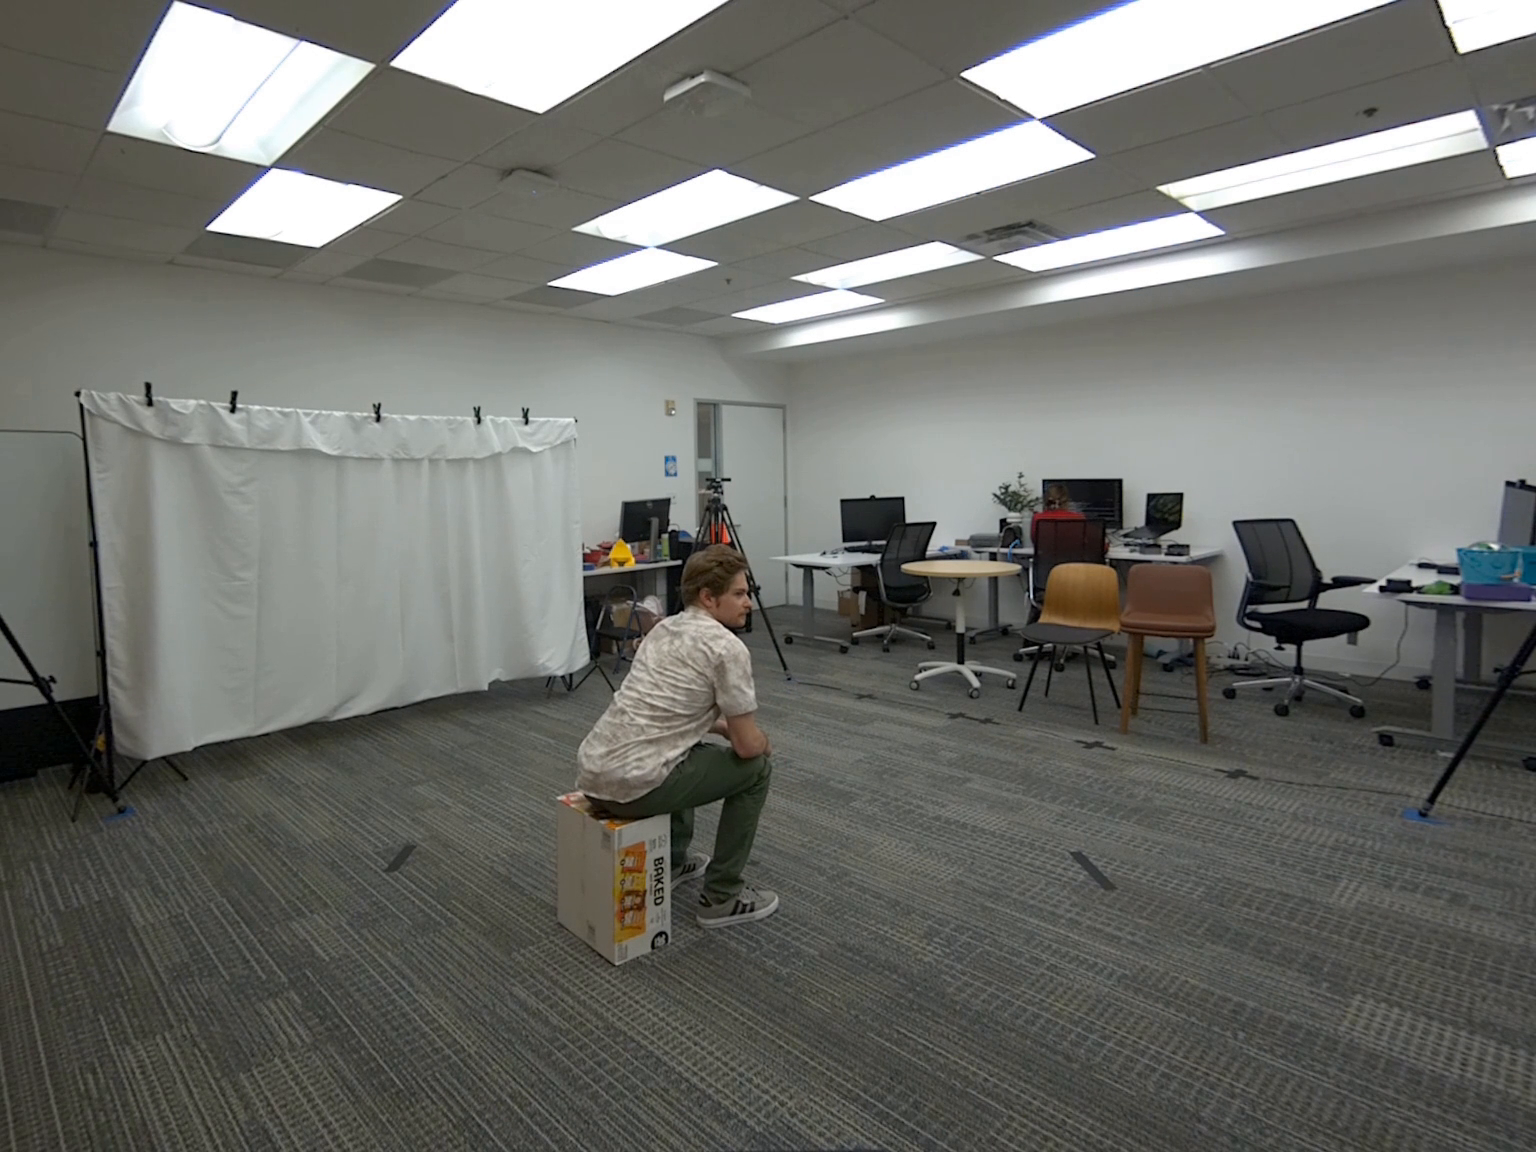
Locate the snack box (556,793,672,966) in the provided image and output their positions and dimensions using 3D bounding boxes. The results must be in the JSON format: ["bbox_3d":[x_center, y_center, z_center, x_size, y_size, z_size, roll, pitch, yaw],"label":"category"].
[{"bbox_3d":[-0.480,0.906,2.639,0.200,0.404,0.351,-3,5,-42],"label":"snack box"}]
